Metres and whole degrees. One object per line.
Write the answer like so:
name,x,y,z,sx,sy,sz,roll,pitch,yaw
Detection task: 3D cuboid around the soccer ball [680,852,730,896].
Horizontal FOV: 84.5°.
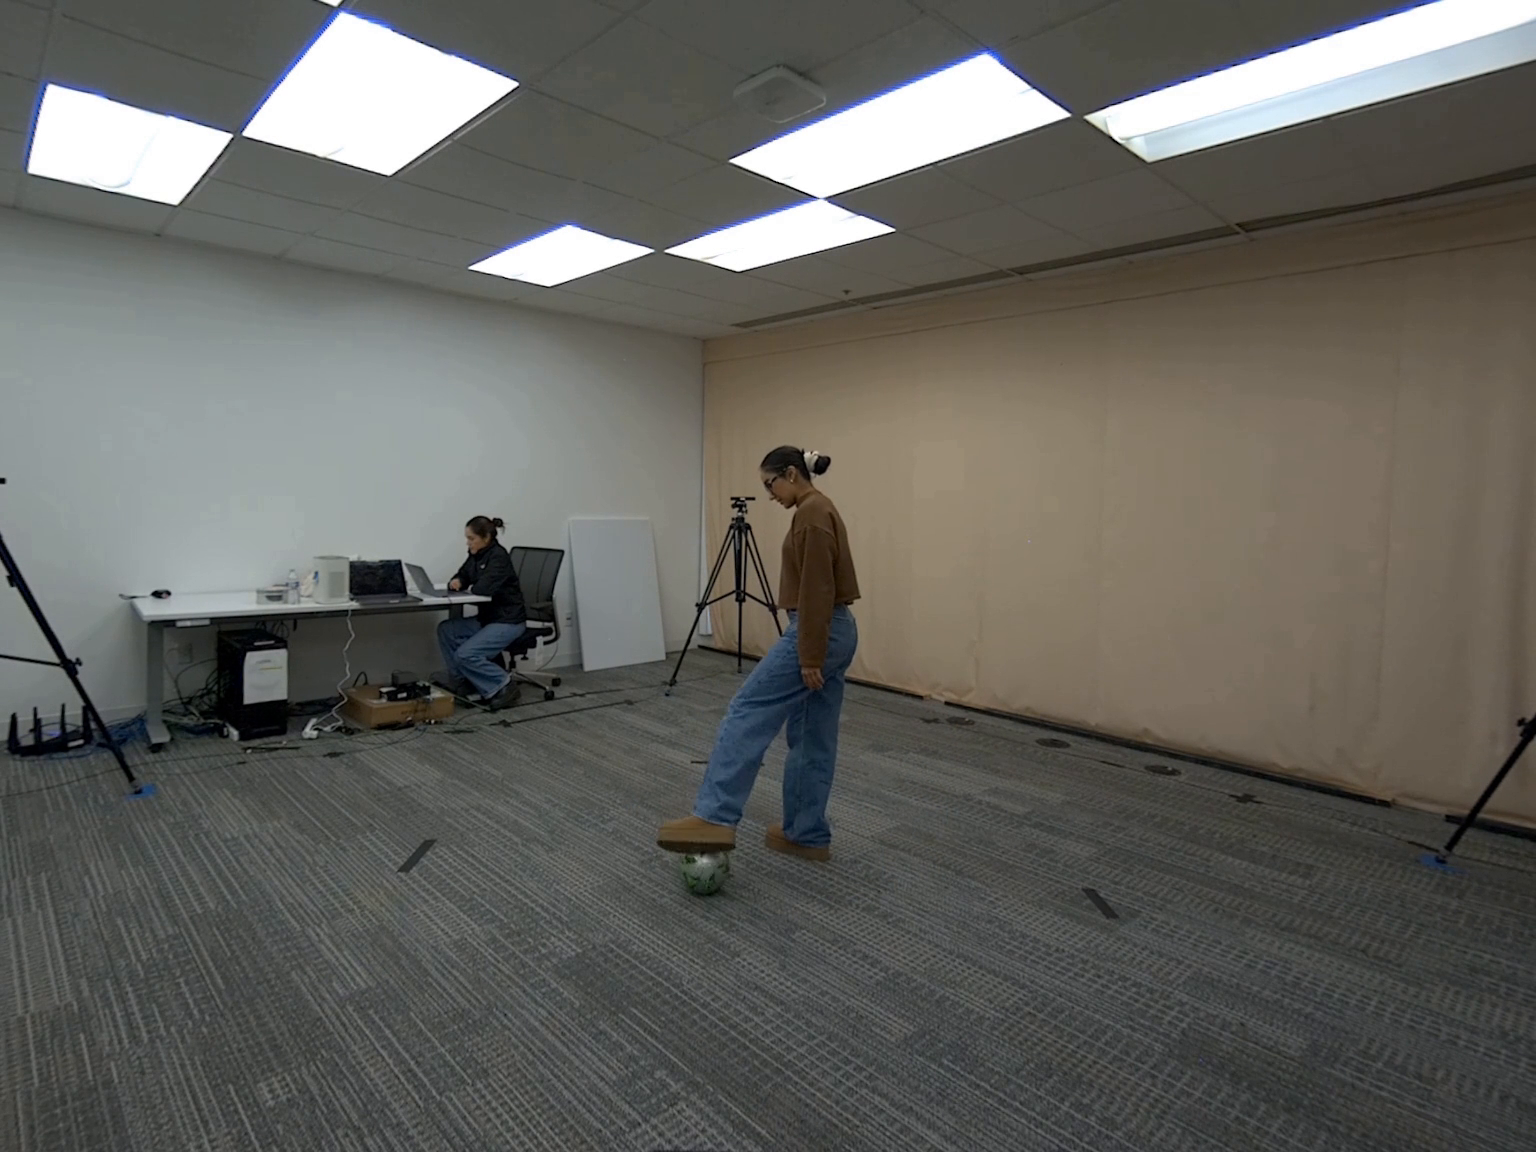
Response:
soccer ball,-0.225,1.025,2.980,0.187,0.187,0.188,1,4,-1
